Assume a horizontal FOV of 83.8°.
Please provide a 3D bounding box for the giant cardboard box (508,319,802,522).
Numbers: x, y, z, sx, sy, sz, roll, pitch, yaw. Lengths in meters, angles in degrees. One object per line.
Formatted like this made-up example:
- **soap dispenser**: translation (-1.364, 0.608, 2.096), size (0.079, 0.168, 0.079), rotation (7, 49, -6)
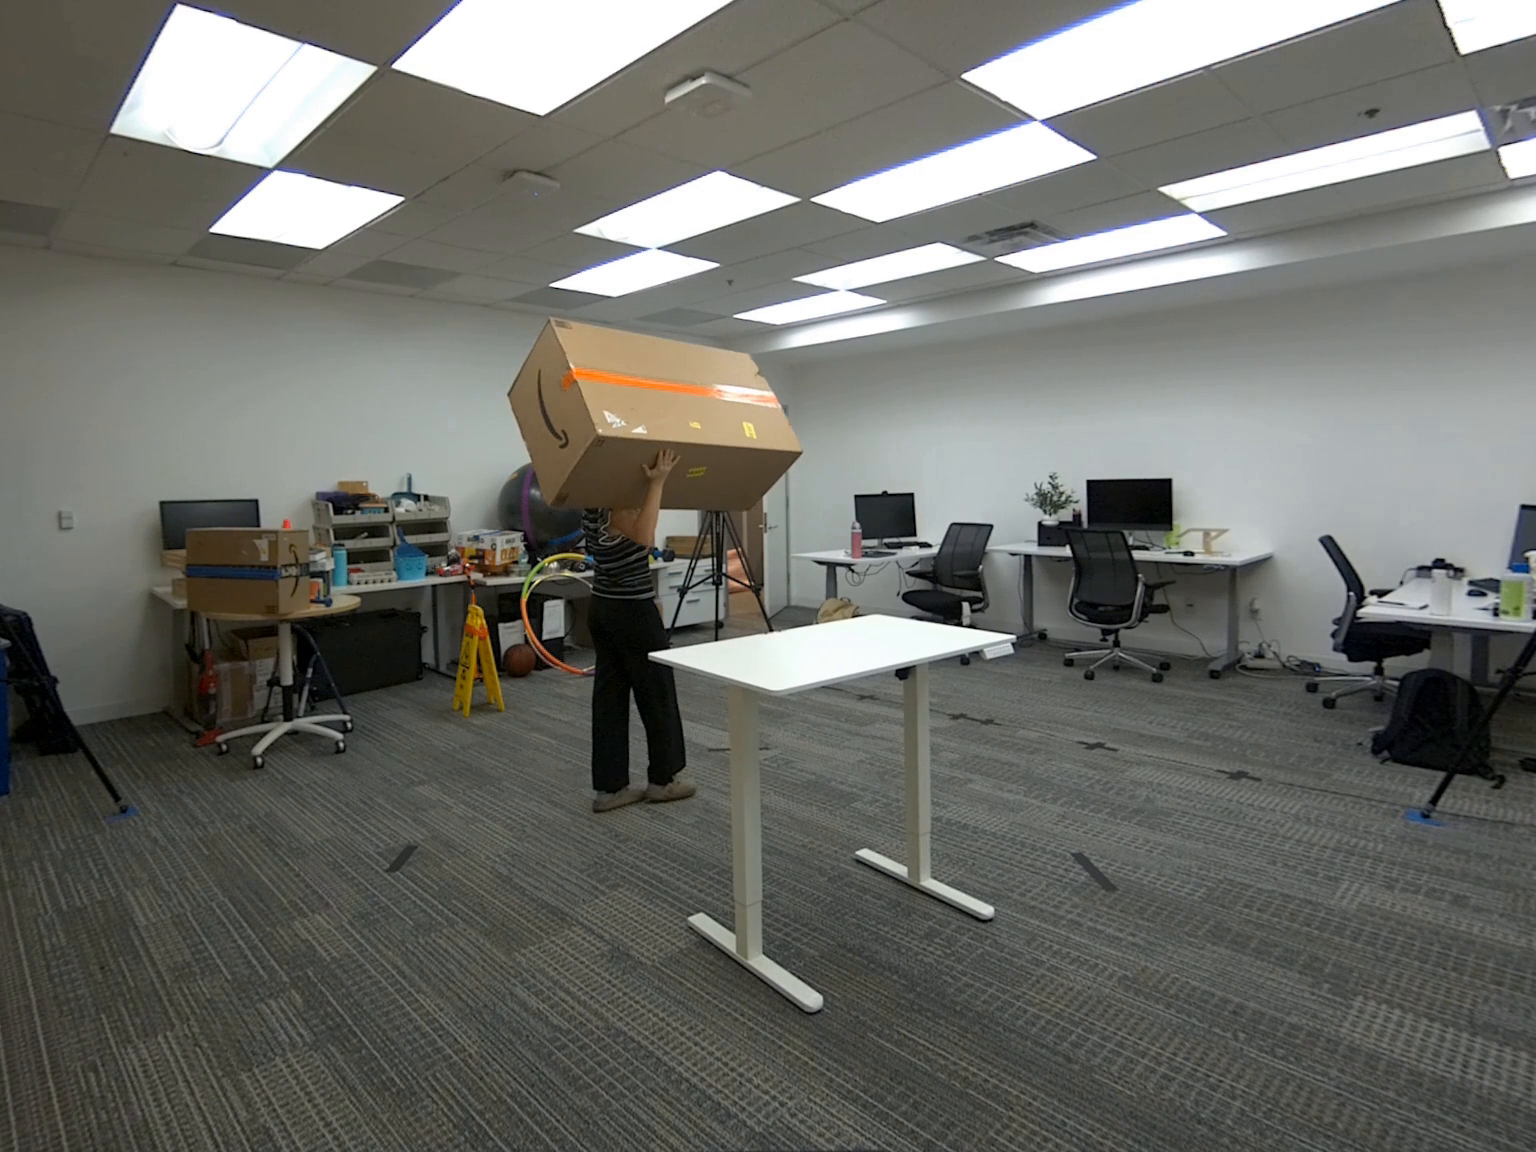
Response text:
- **giant cardboard box**: translation (-0.448, -0.624, 3.509), size (0.997, 0.594, 0.426), rotation (-2, -33, -42)
